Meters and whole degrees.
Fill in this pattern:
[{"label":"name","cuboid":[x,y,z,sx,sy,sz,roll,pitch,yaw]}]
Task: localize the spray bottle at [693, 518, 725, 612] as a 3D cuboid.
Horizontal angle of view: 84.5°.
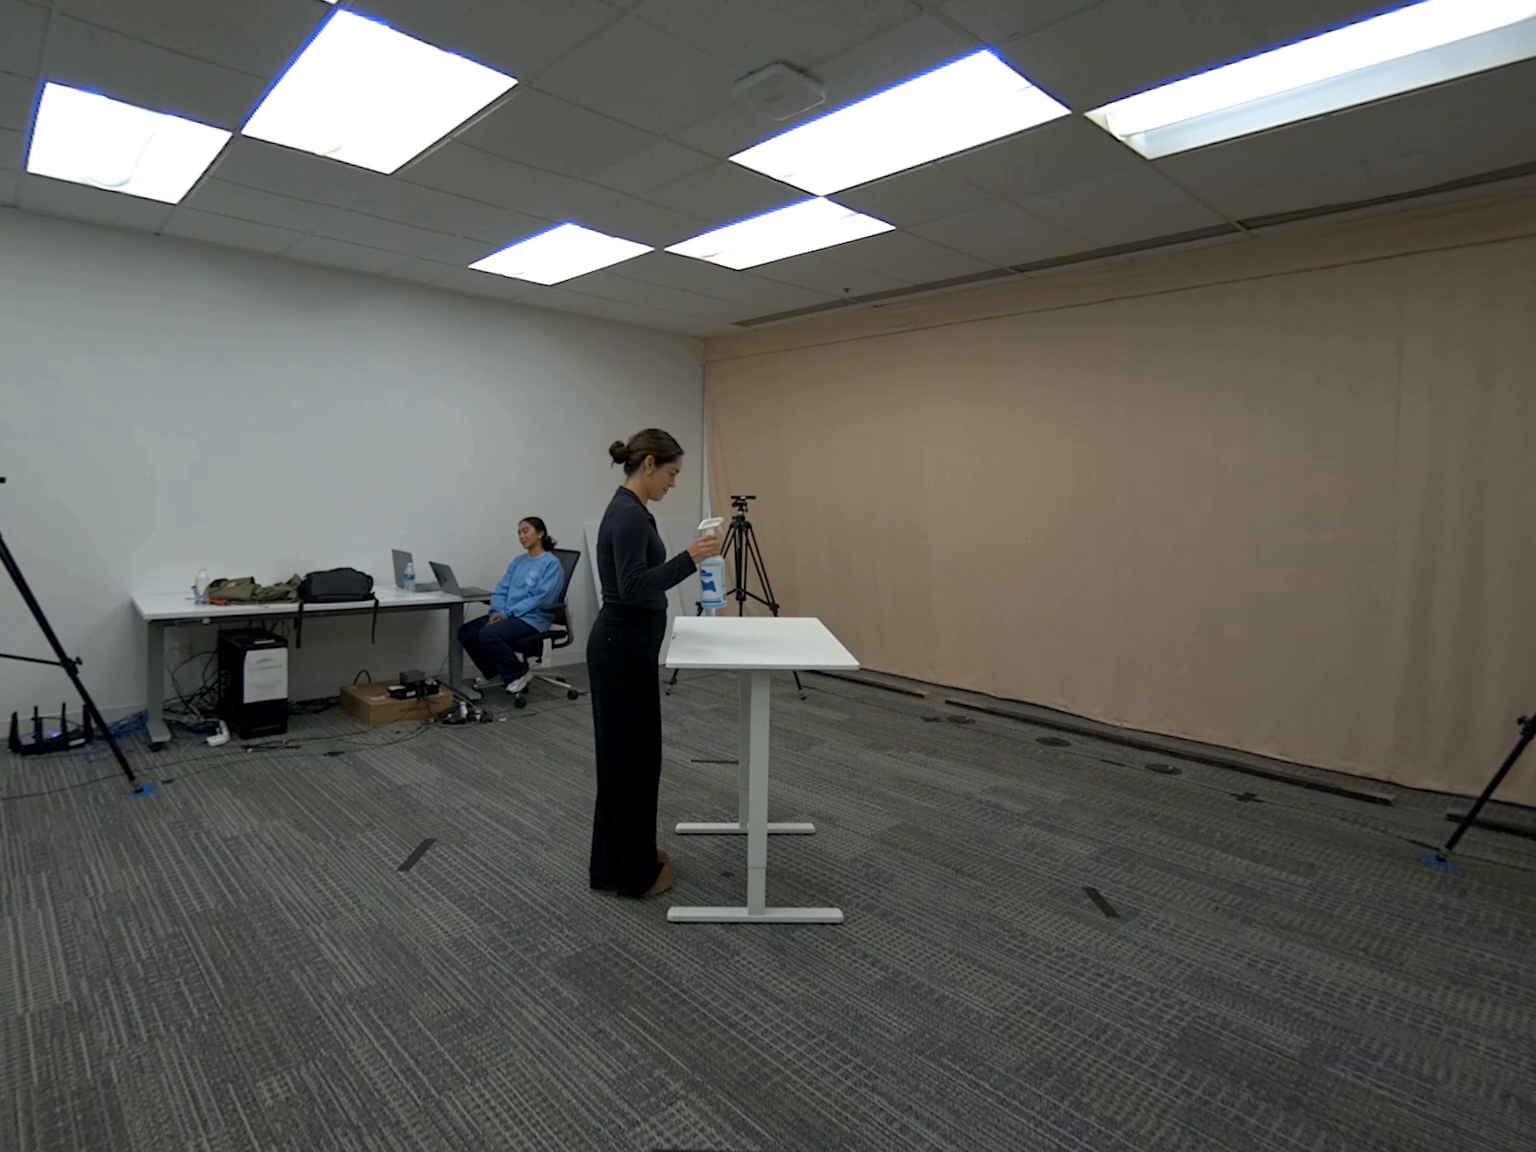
[{"label":"spray bottle","cuboid":[-0.195,-0.040,2.789,0.090,0.296,0.087,-1,7,0]}]
